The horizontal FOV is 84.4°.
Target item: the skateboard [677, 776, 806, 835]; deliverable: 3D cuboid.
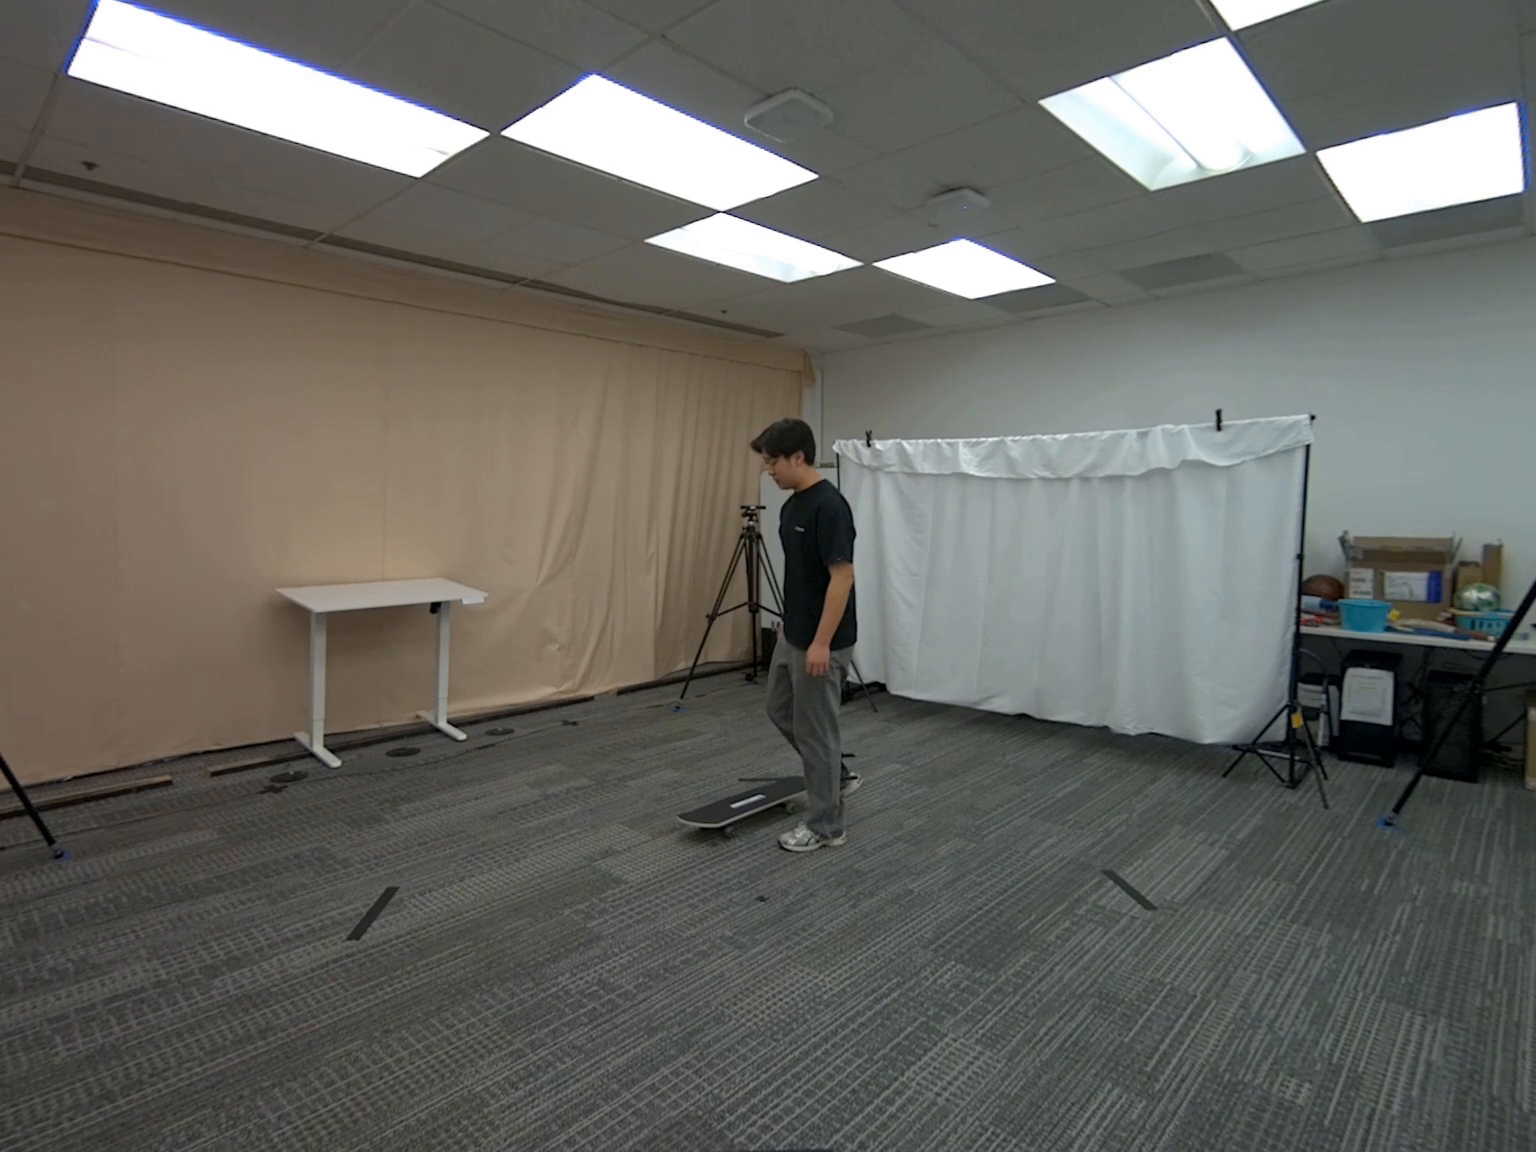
[{"bbox_3d":[-0.085,1.029,3.724,0.200,0.110,0.761,2,5,44],"label":"skateboard"}]
